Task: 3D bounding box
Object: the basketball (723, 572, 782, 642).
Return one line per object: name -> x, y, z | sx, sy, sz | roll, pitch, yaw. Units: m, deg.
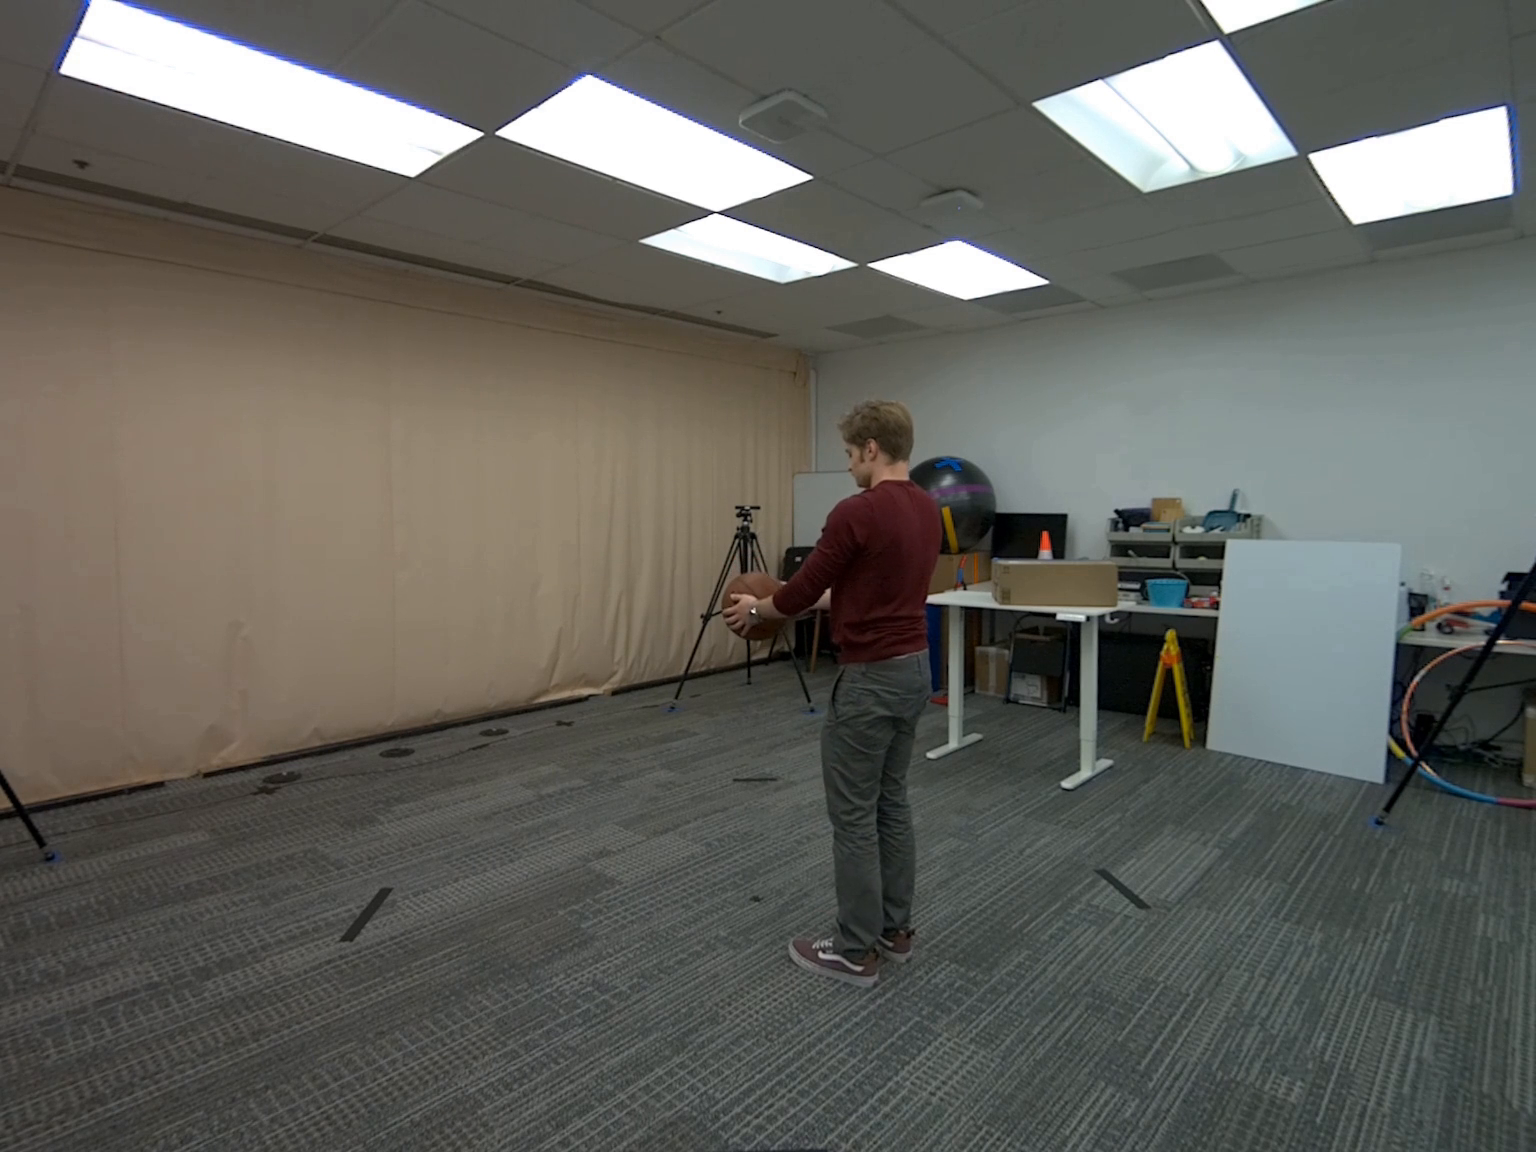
basketball -> -0.039, 0.090, 2.903 | 0.236, 0.235, 0.237 | 0, 4, -2
